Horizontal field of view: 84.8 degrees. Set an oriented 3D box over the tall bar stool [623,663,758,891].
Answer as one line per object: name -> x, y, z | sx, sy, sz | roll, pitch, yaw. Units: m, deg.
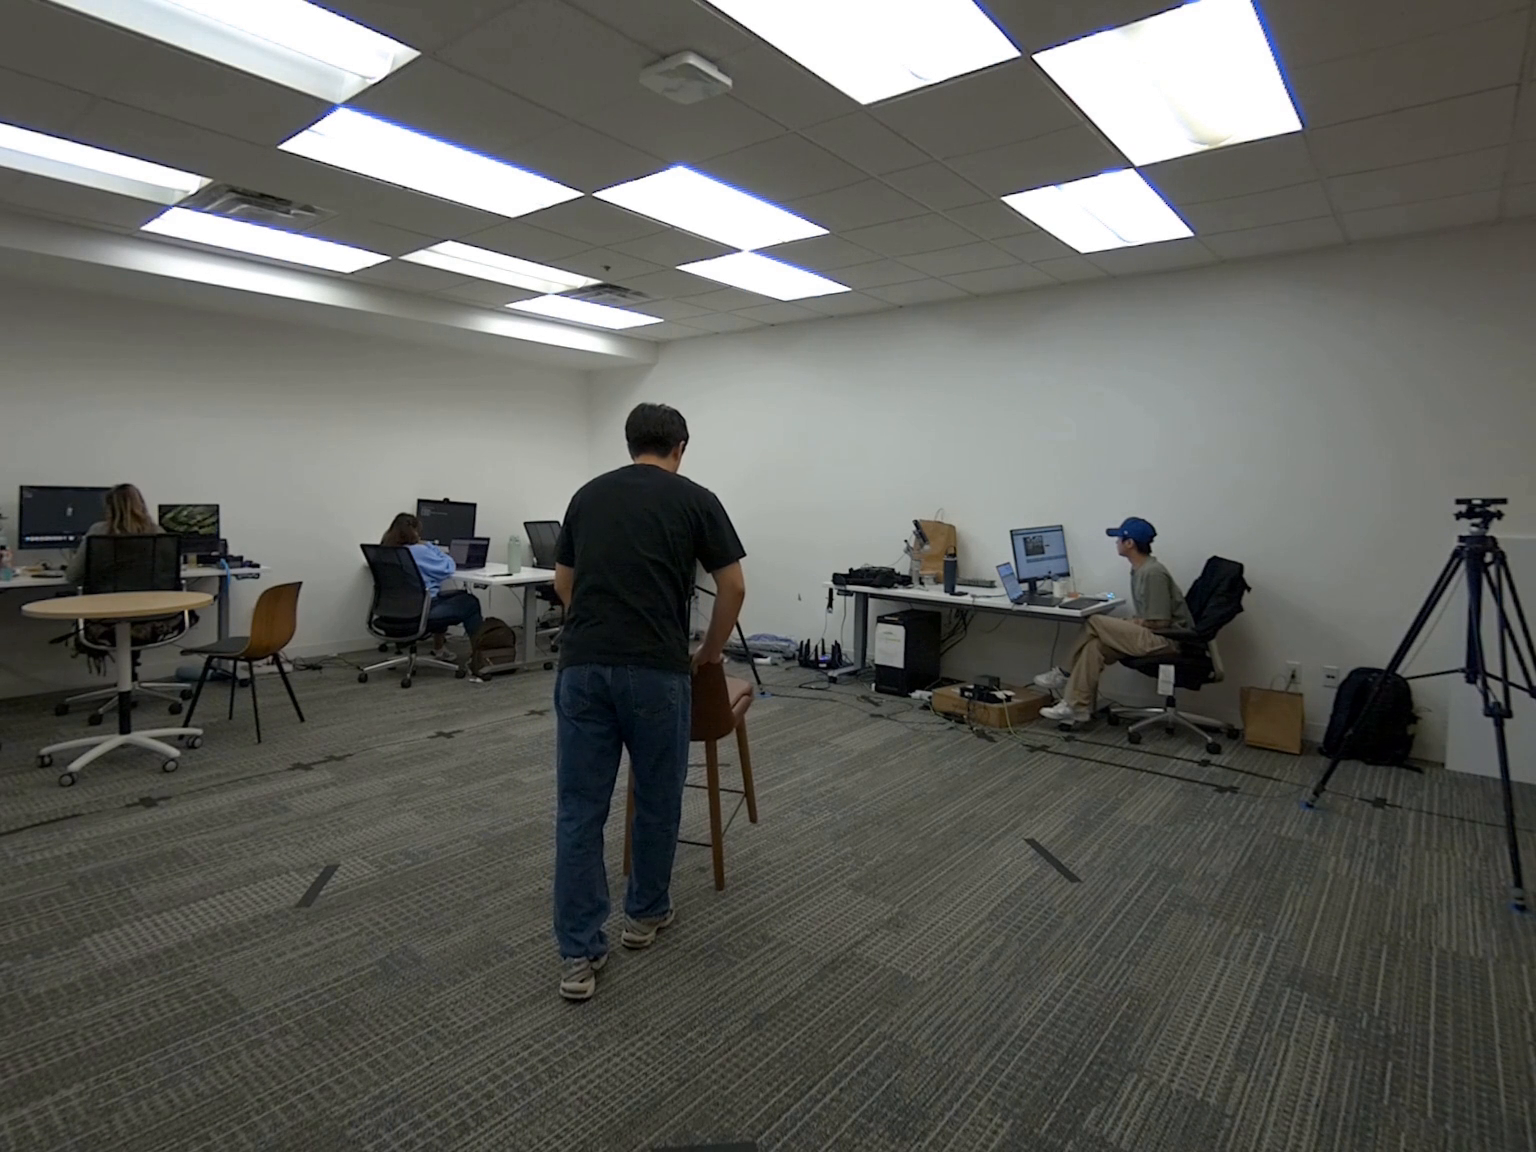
tall bar stool -> -0.309, 0.603, 3.100 | 0.465, 0.876, 0.466 | 2, 16, 16
